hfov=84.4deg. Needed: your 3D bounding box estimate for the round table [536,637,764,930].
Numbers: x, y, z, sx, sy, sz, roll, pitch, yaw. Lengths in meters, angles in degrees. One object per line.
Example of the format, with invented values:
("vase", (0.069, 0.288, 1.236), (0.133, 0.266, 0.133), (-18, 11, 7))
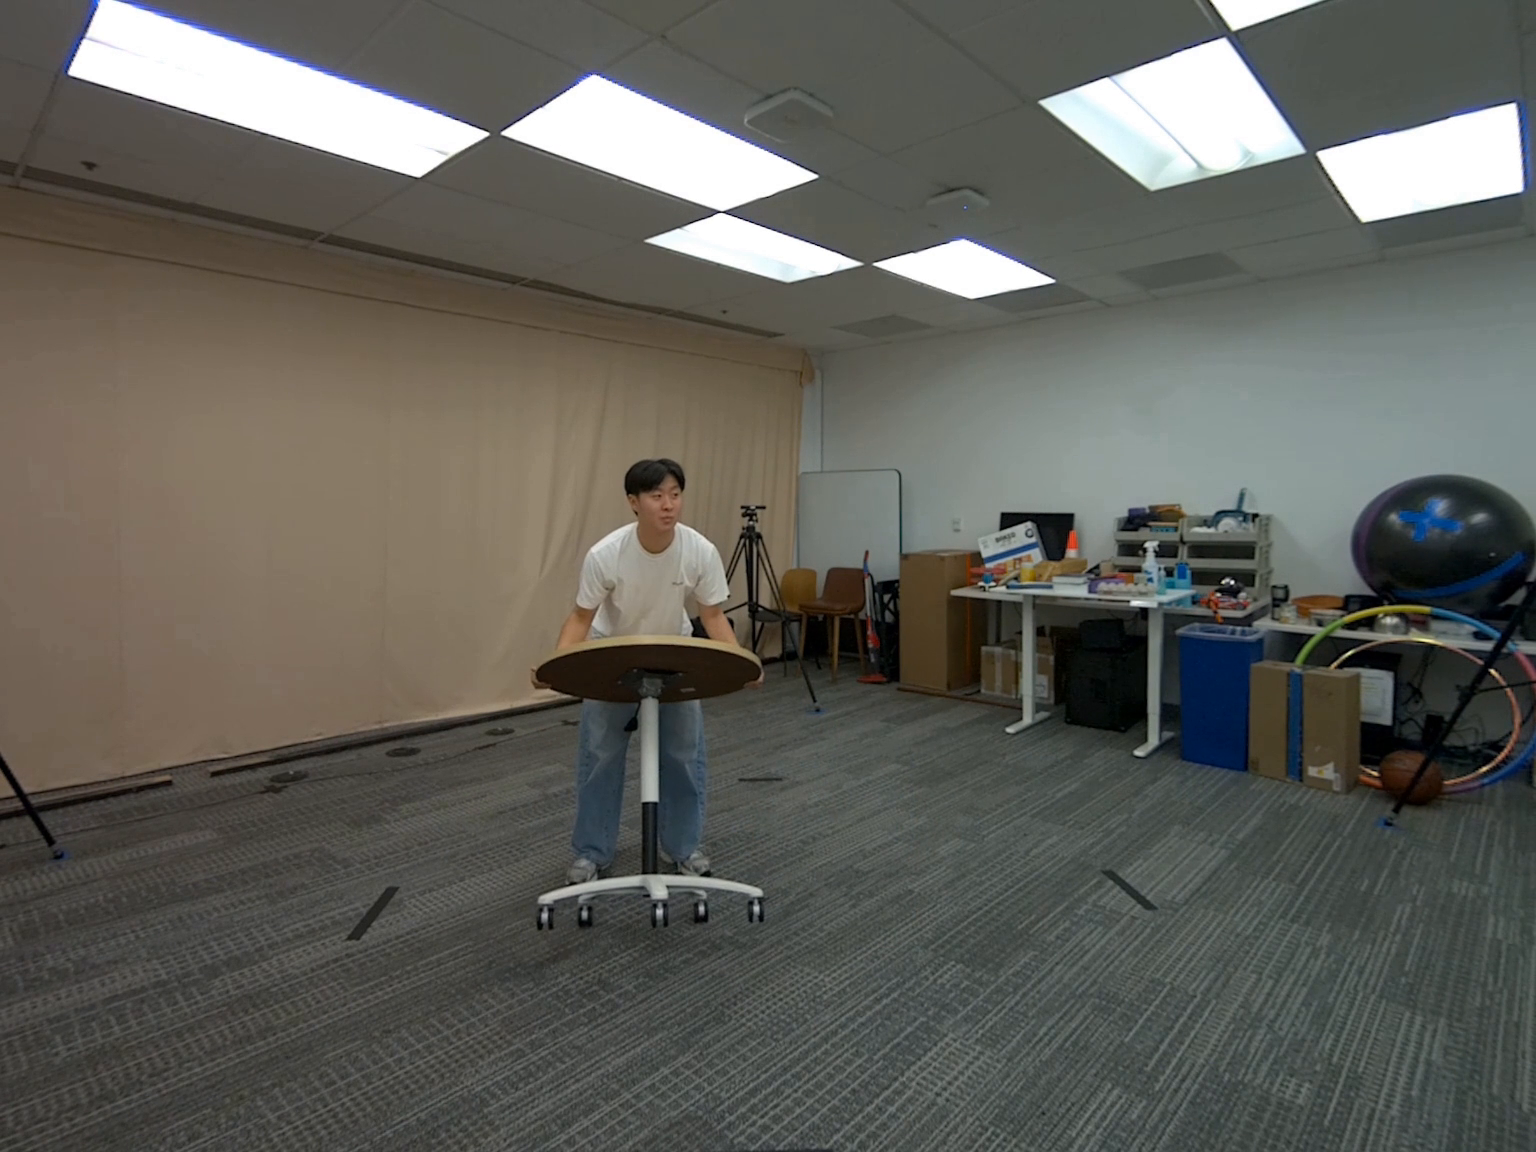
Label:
("round table", (-0.364, 0.685, 2.718), (0.784, 0.797, 0.776), (-2, -22, -3))
